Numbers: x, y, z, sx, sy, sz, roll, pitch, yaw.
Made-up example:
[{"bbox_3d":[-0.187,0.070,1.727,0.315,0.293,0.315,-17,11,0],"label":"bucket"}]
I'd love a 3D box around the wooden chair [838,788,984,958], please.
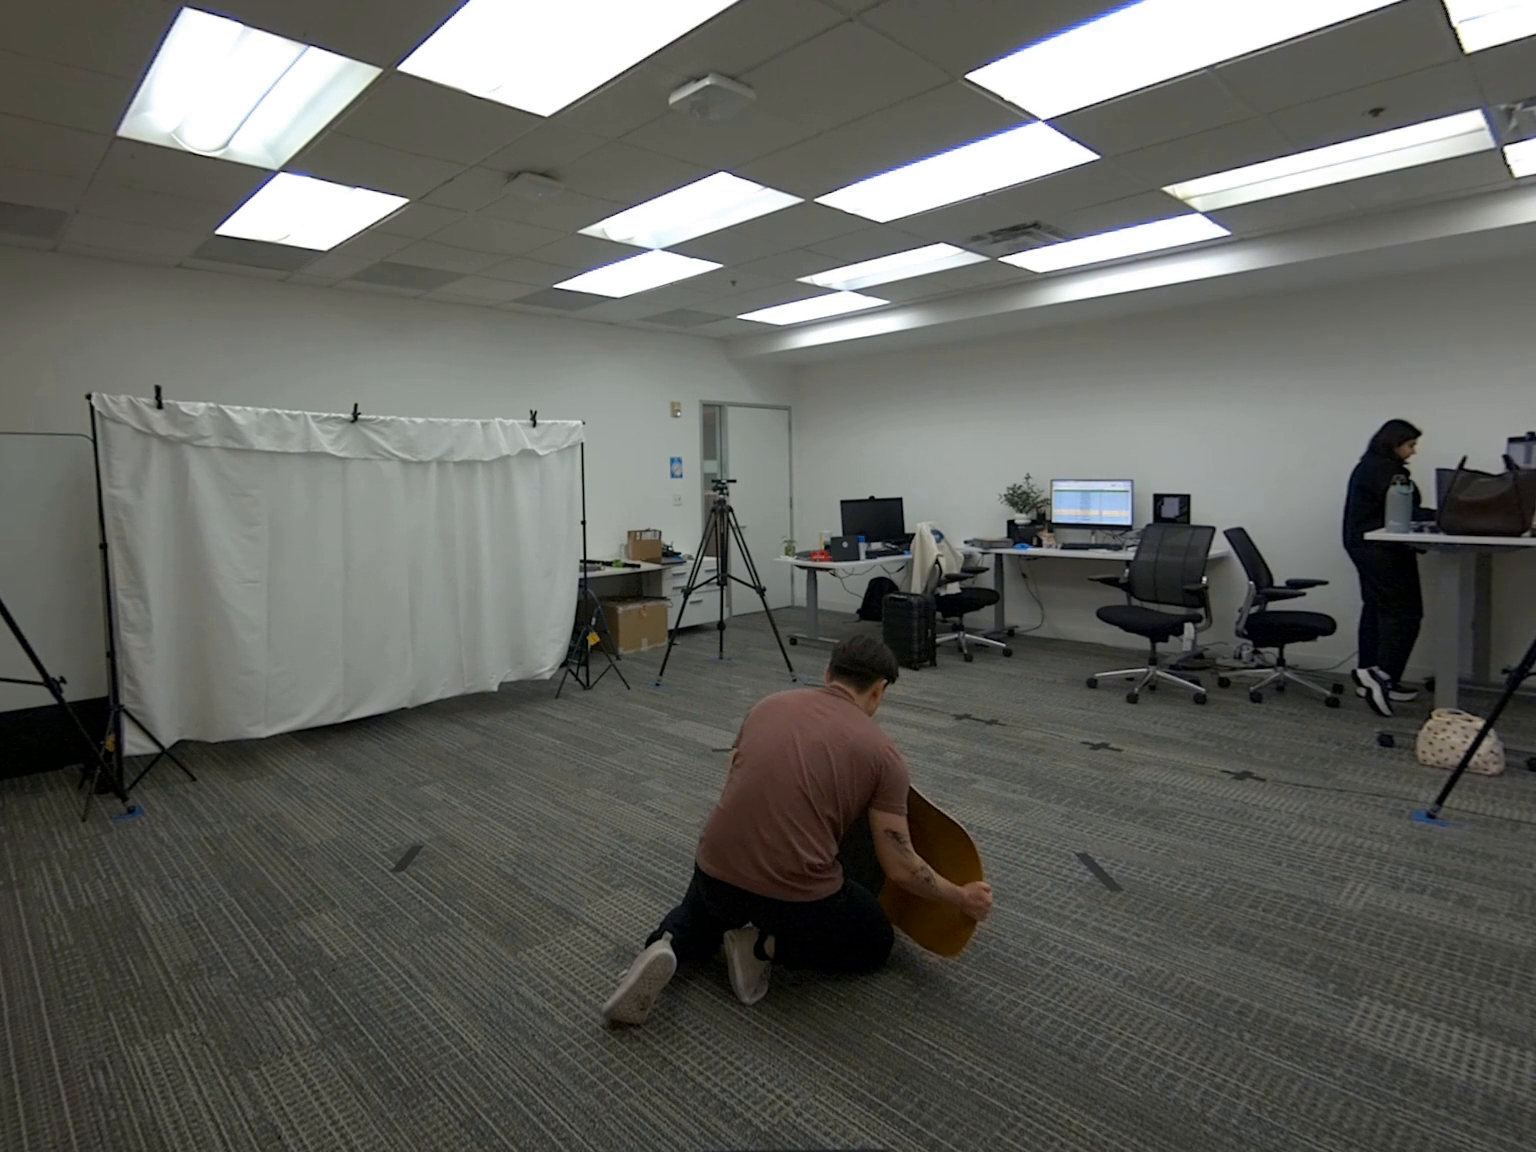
[{"bbox_3d":[0.220,0.839,2.717,0.514,0.477,0.895,2,4,-18],"label":"wooden chair"}]
